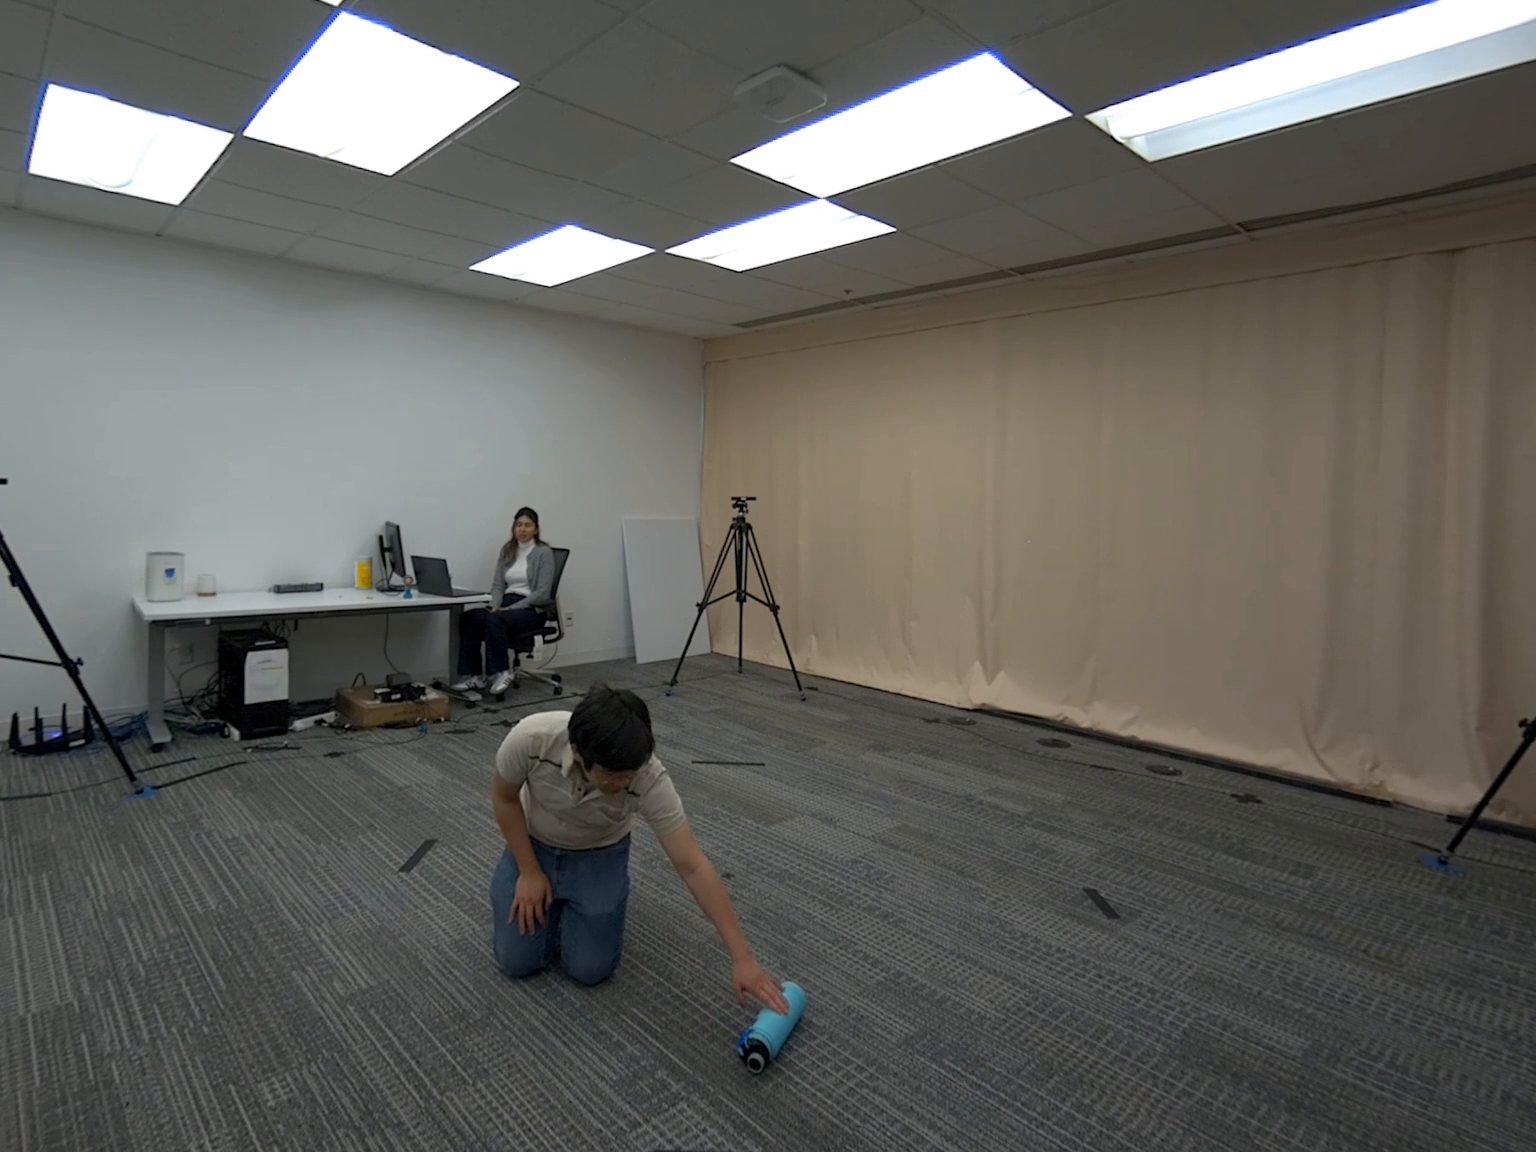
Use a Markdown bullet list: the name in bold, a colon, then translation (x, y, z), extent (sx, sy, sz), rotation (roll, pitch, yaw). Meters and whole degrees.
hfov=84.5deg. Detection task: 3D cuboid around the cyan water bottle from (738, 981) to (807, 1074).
- **cyan water bottle**: translation (-0.005, 1.155, 2.153), extent (0.094, 0.092, 0.279), rotation (3, 6, 24)
